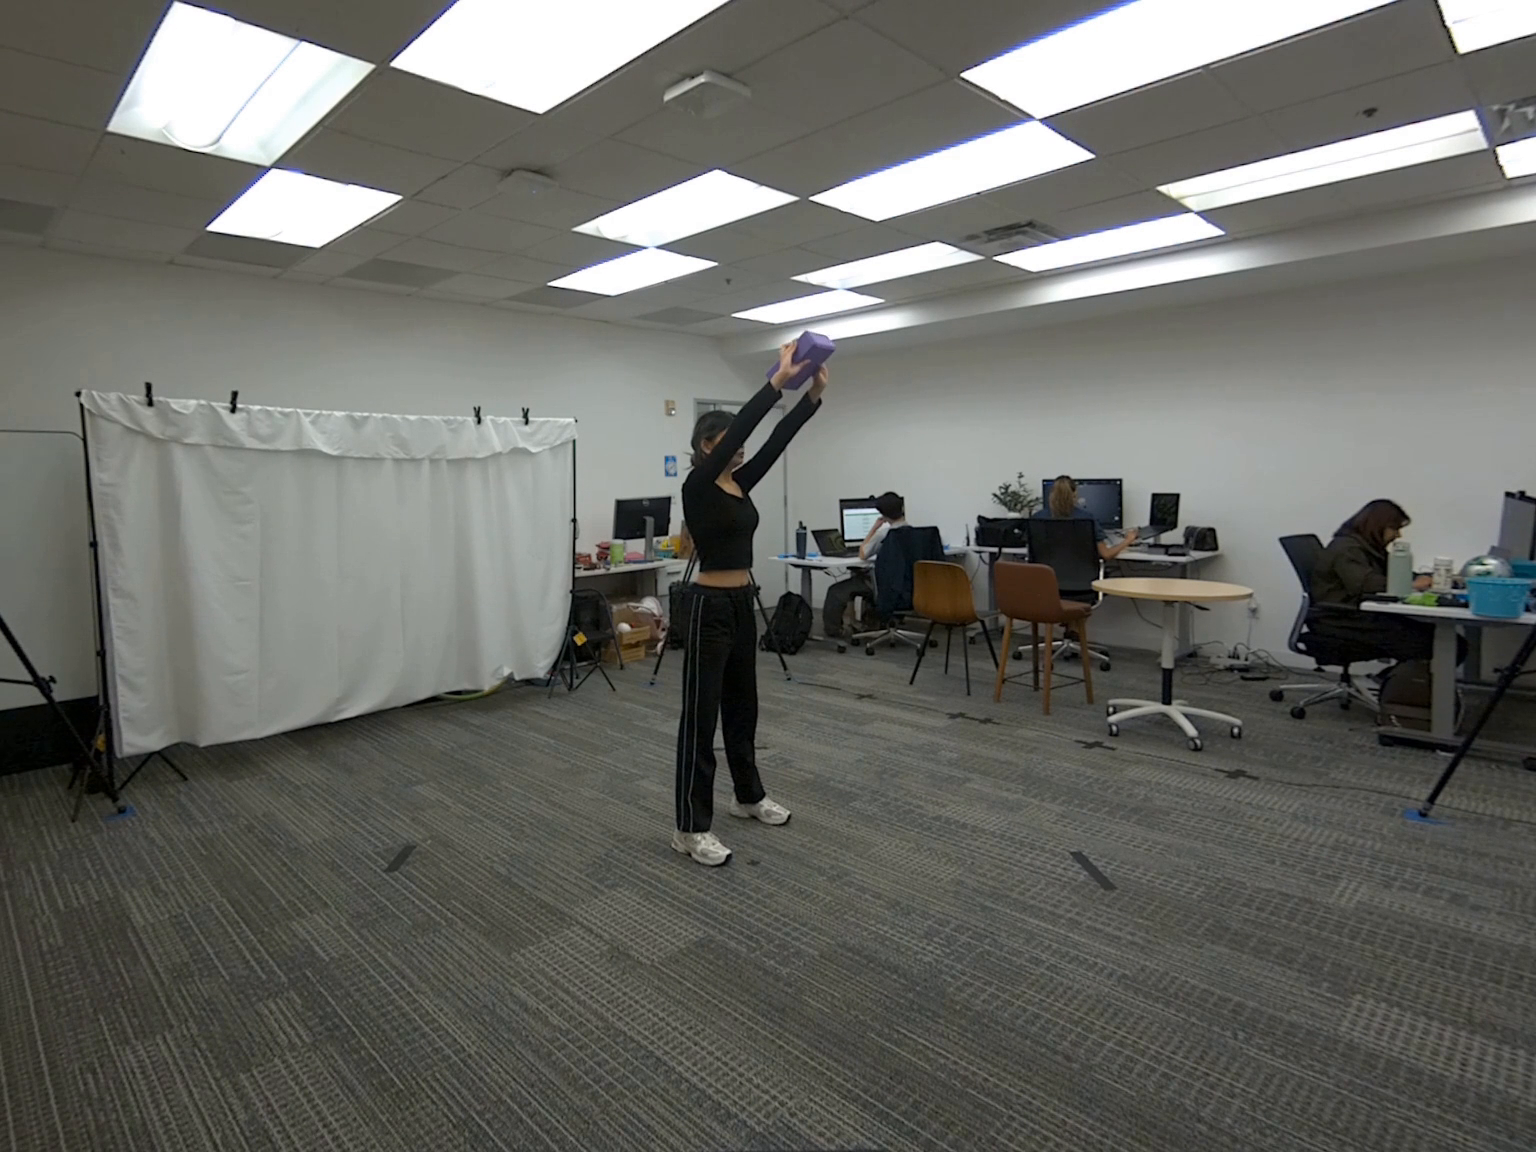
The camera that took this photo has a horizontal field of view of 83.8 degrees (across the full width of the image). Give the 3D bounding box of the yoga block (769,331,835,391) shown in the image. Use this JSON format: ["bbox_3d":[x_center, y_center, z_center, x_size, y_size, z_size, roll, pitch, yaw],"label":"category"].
[{"bbox_3d":[0.124,-0.777,3.095,0.230,0.078,0.145,-42,-18,32],"label":"yoga block"}]
